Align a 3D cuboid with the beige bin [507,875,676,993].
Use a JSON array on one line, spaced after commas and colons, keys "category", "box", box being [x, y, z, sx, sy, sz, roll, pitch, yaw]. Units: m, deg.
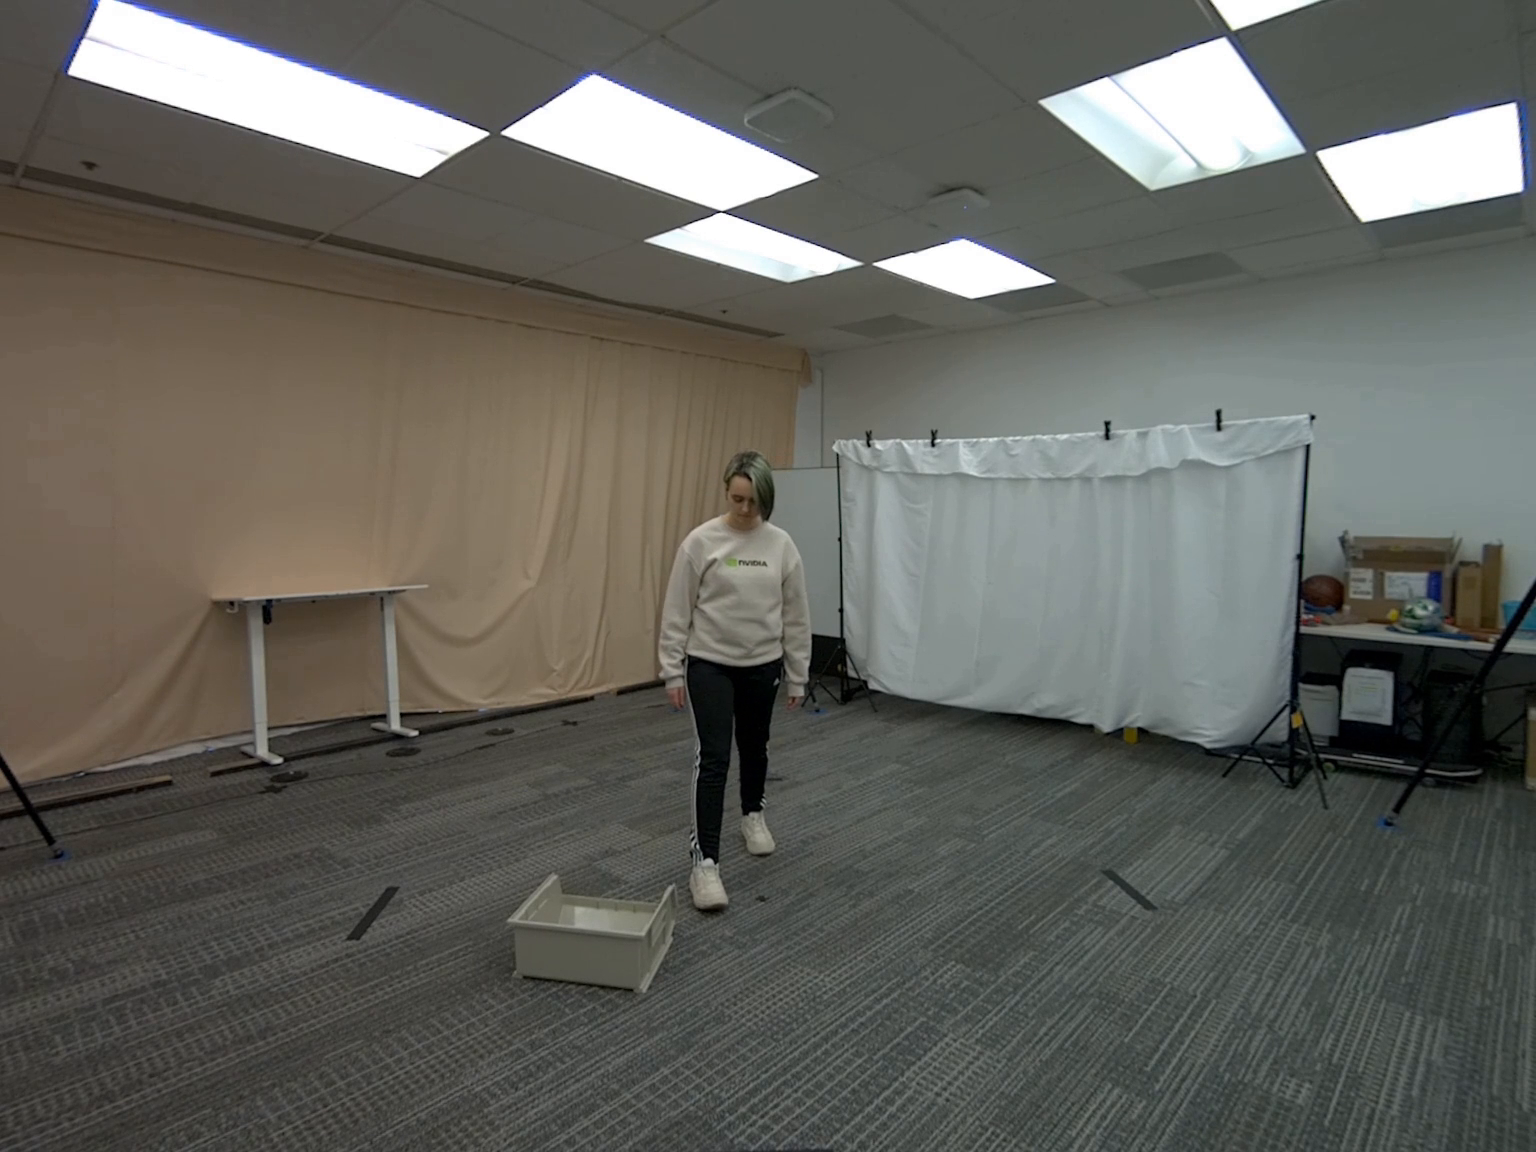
[{"category": "beige bin", "box": [-0.531, 1.092, 2.608, 0.427, 0.188, 0.374, 1, 5, 10]}]
